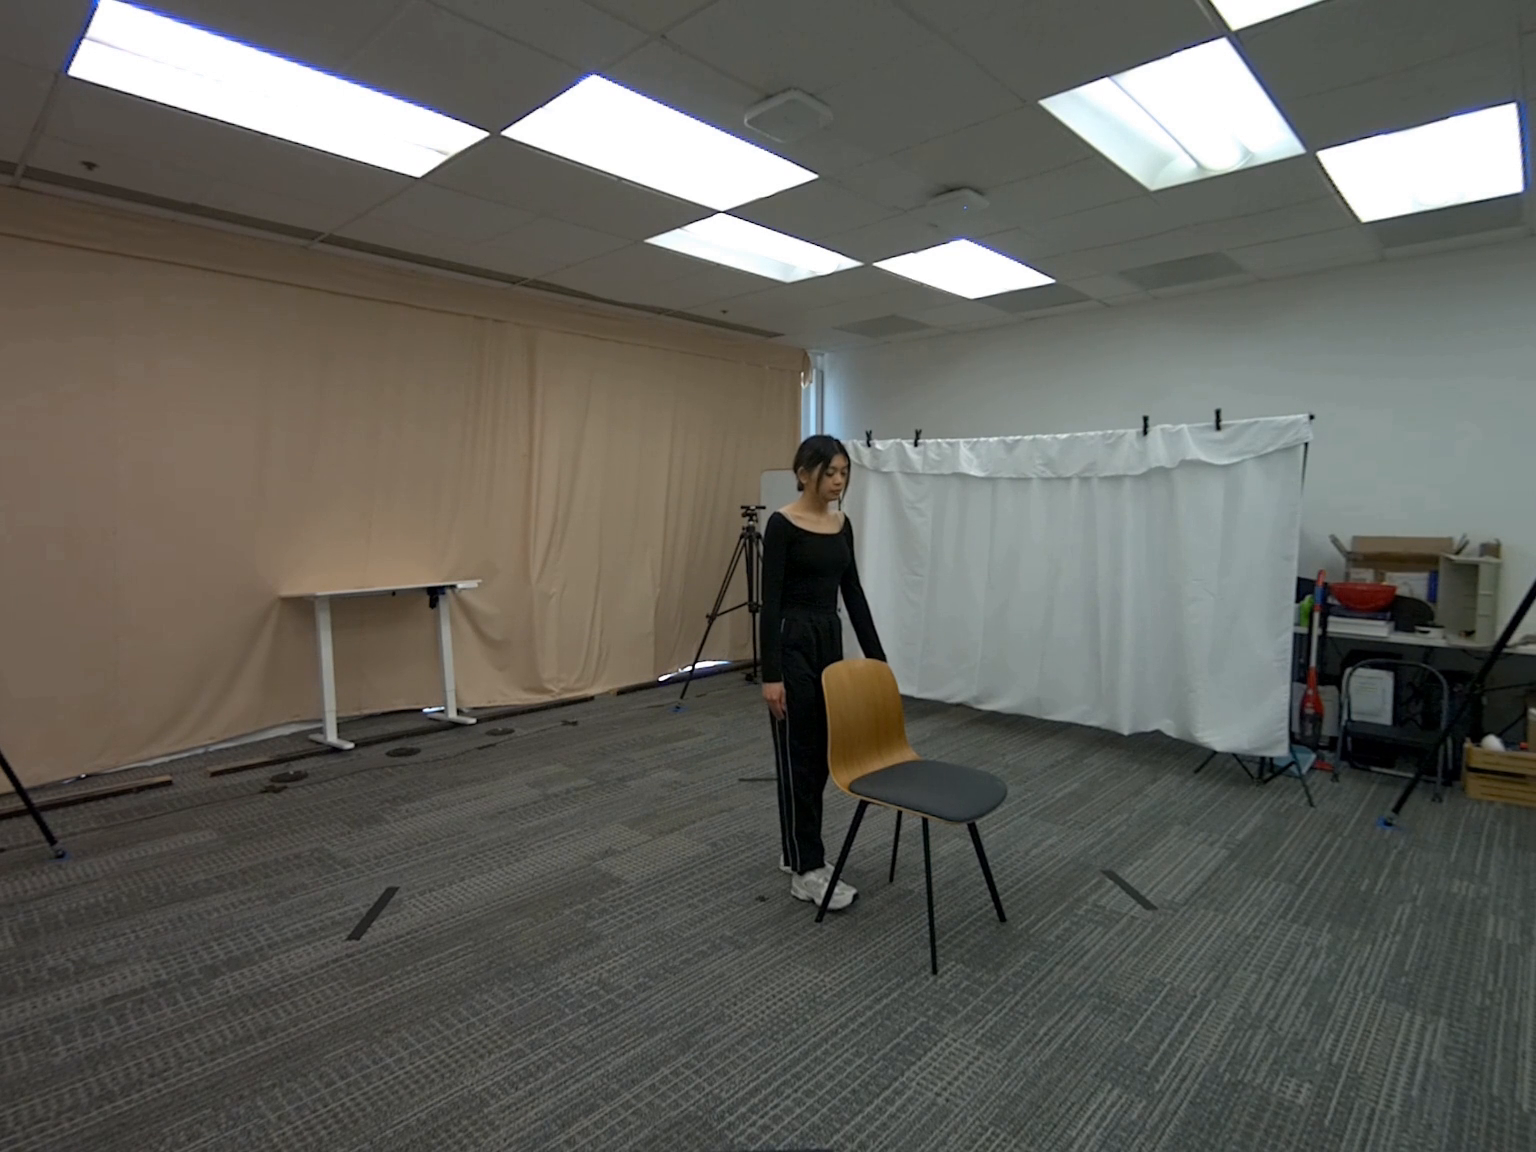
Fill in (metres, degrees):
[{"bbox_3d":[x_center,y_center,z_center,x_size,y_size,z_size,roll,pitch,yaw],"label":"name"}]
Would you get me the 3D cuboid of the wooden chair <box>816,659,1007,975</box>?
[{"bbox_3d":[0.493,0.734,2.774,0.539,0.877,0.463,-3,0,44],"label":"wooden chair"}]
